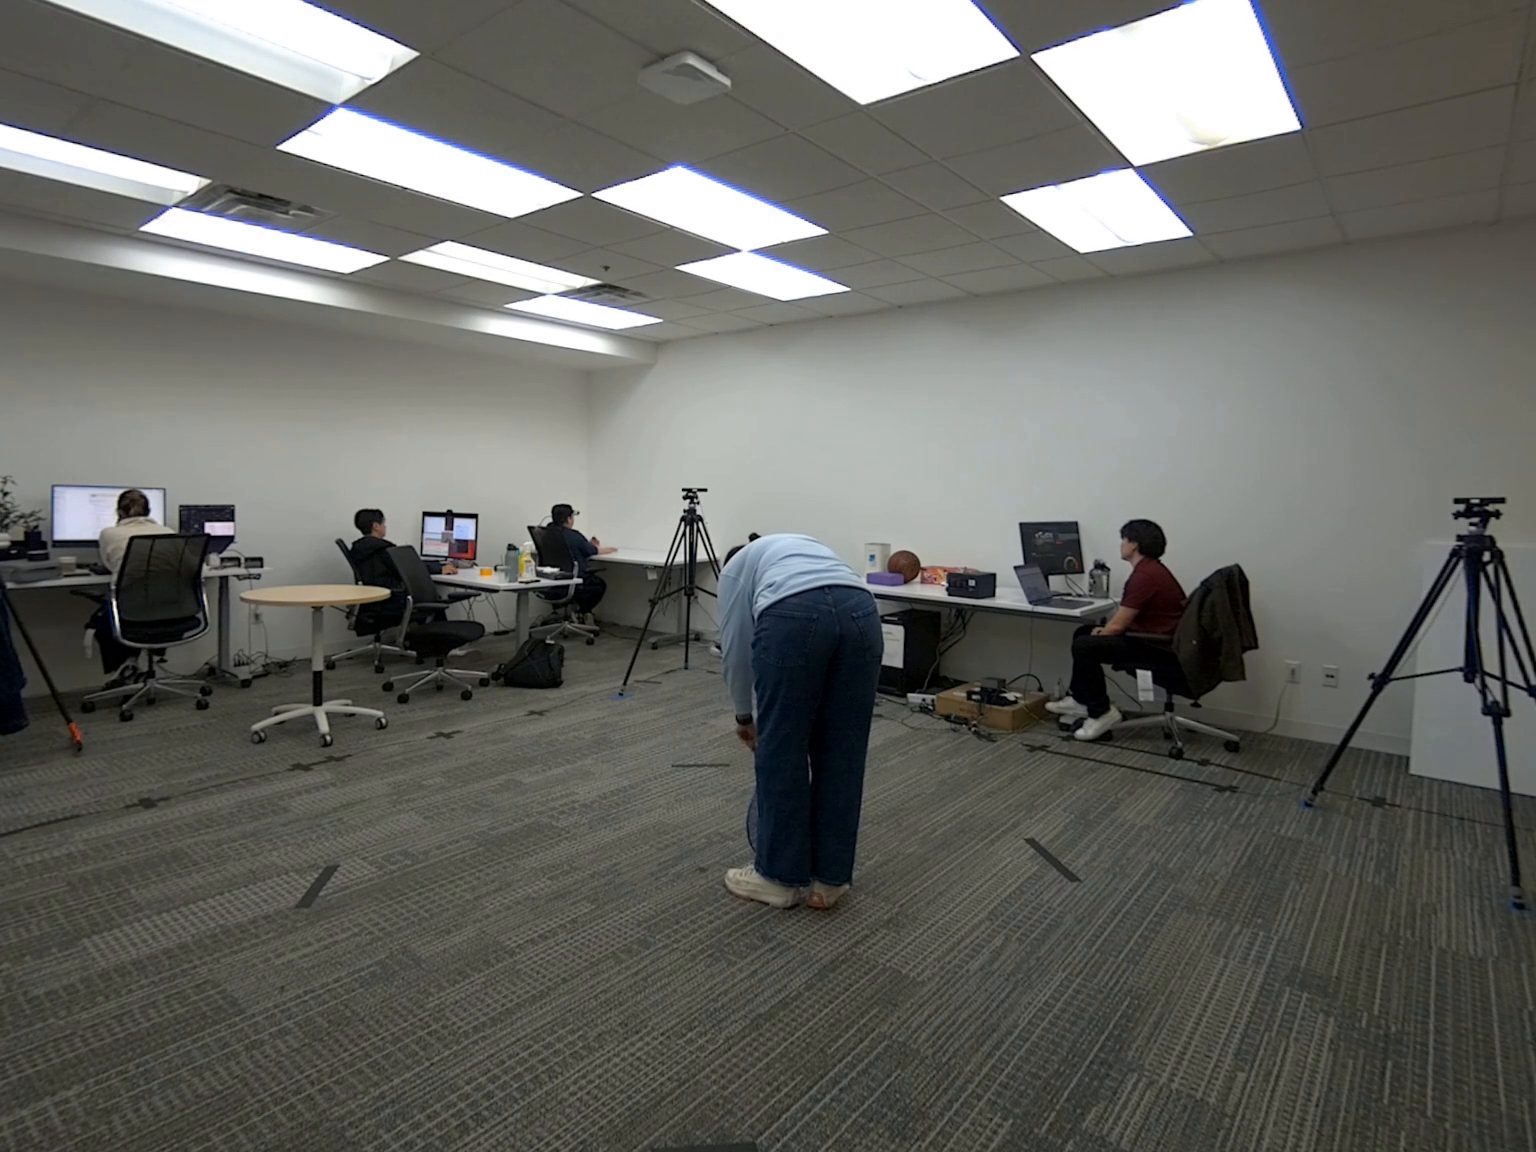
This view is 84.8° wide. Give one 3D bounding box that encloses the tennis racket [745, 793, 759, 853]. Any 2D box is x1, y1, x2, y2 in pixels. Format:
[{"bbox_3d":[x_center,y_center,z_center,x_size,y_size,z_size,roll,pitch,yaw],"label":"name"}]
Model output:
[{"bbox_3d":[-0.032,0.843,3.219,0.033,0.428,0.209,1,14,42],"label":"tennis racket"}]
